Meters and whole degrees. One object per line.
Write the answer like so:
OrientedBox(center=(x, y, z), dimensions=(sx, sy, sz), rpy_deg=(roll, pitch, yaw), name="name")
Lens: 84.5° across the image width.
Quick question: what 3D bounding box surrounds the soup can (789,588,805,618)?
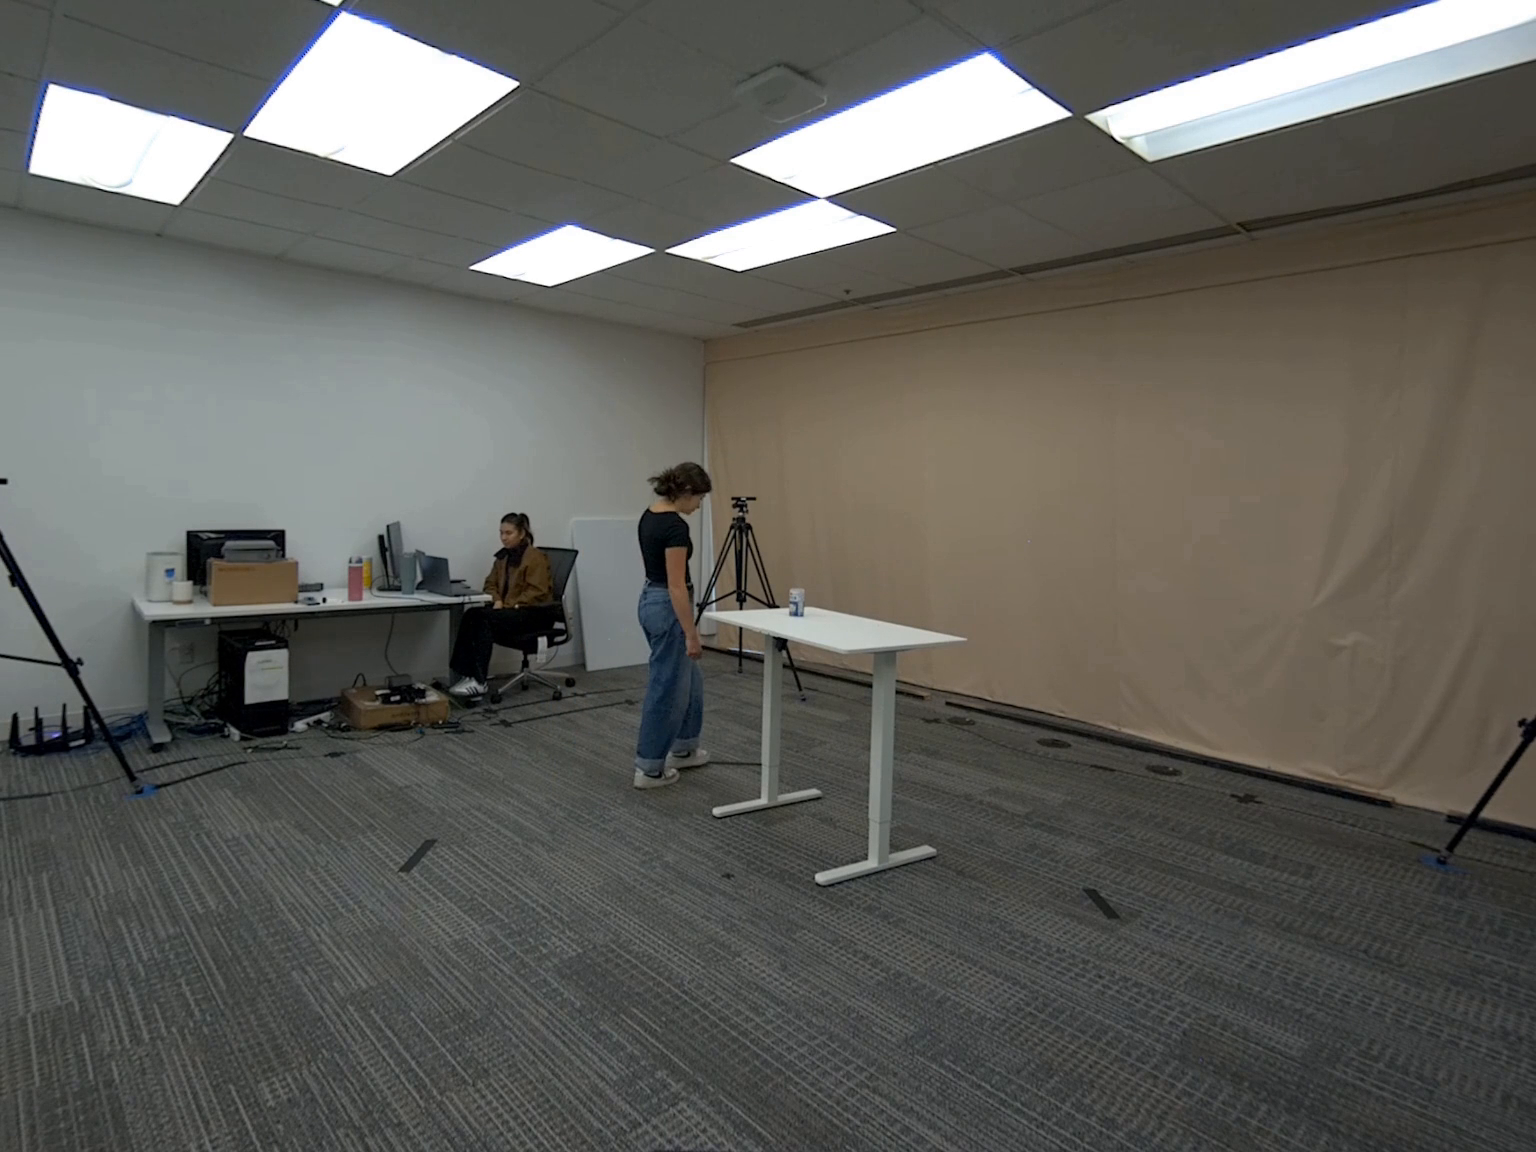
OrientedBox(center=(0.124, 0.119, 3.724), dimensions=(0.067, 0.121, 0.067), rpy_deg=(2, 6, -2), name="soup can")
